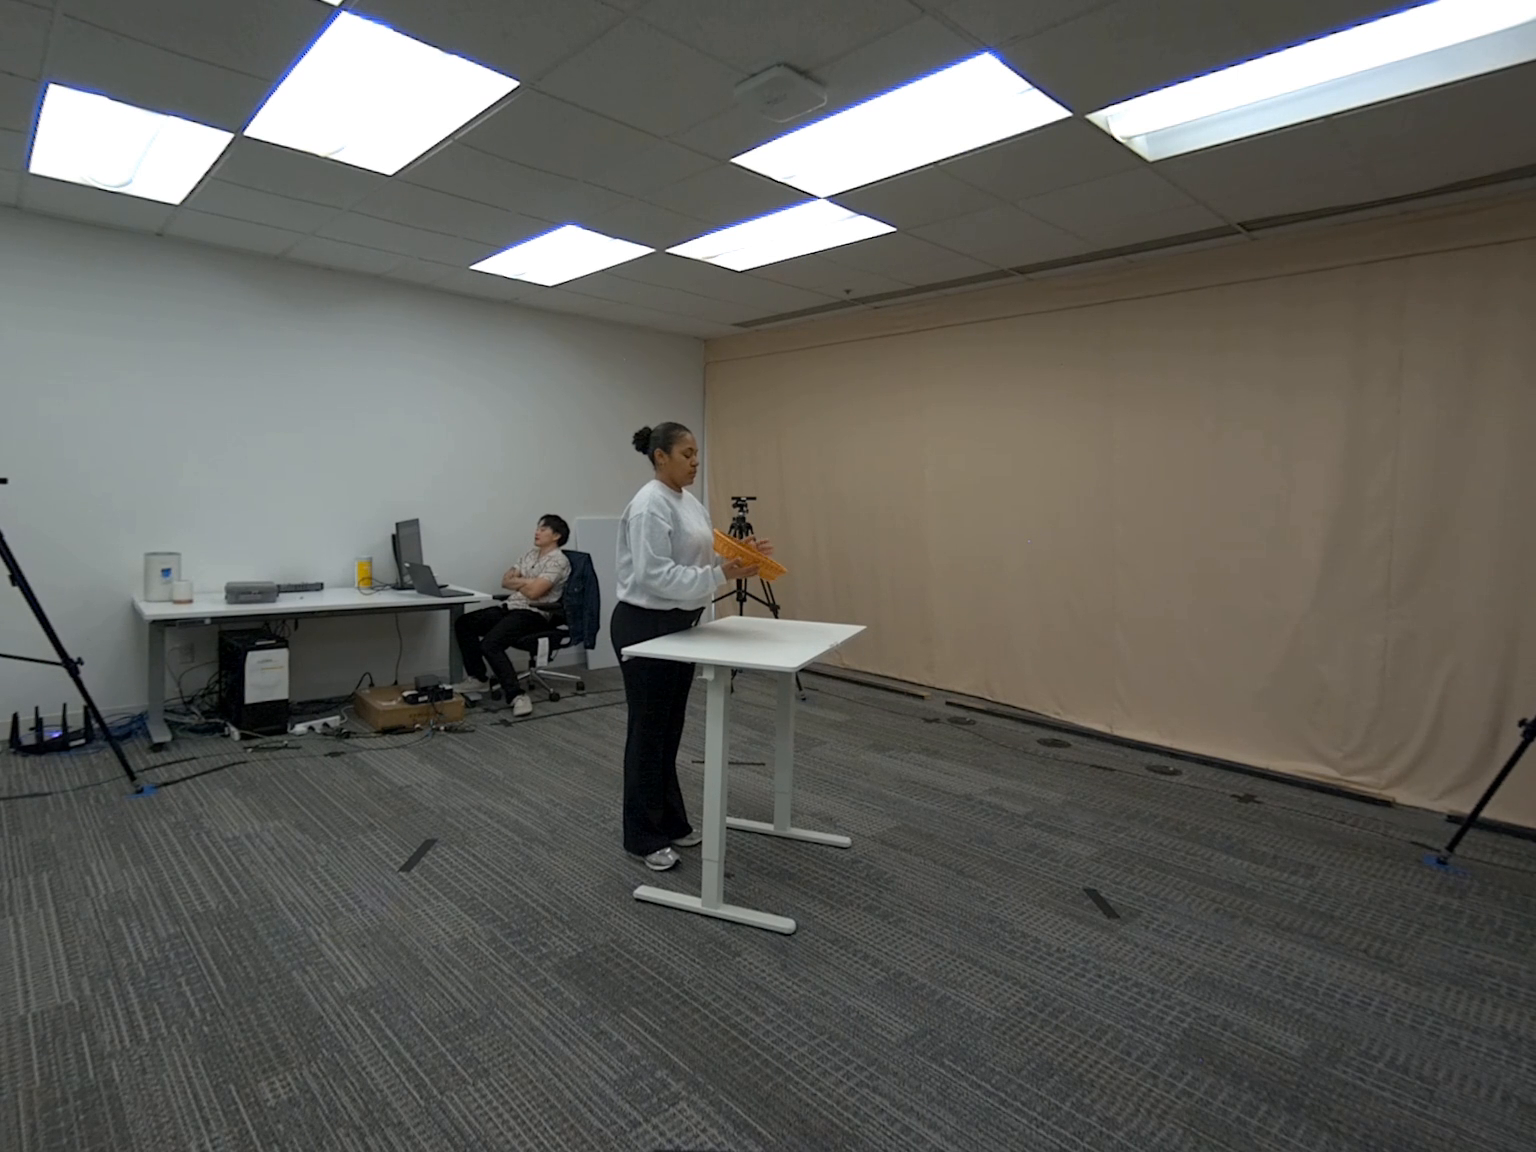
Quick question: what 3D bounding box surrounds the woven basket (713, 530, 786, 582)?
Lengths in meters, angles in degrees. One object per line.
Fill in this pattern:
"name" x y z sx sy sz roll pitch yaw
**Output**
"woven basket" -0.090 -0.065 3.154 0.341 0.073 0.260 28 5 -32
